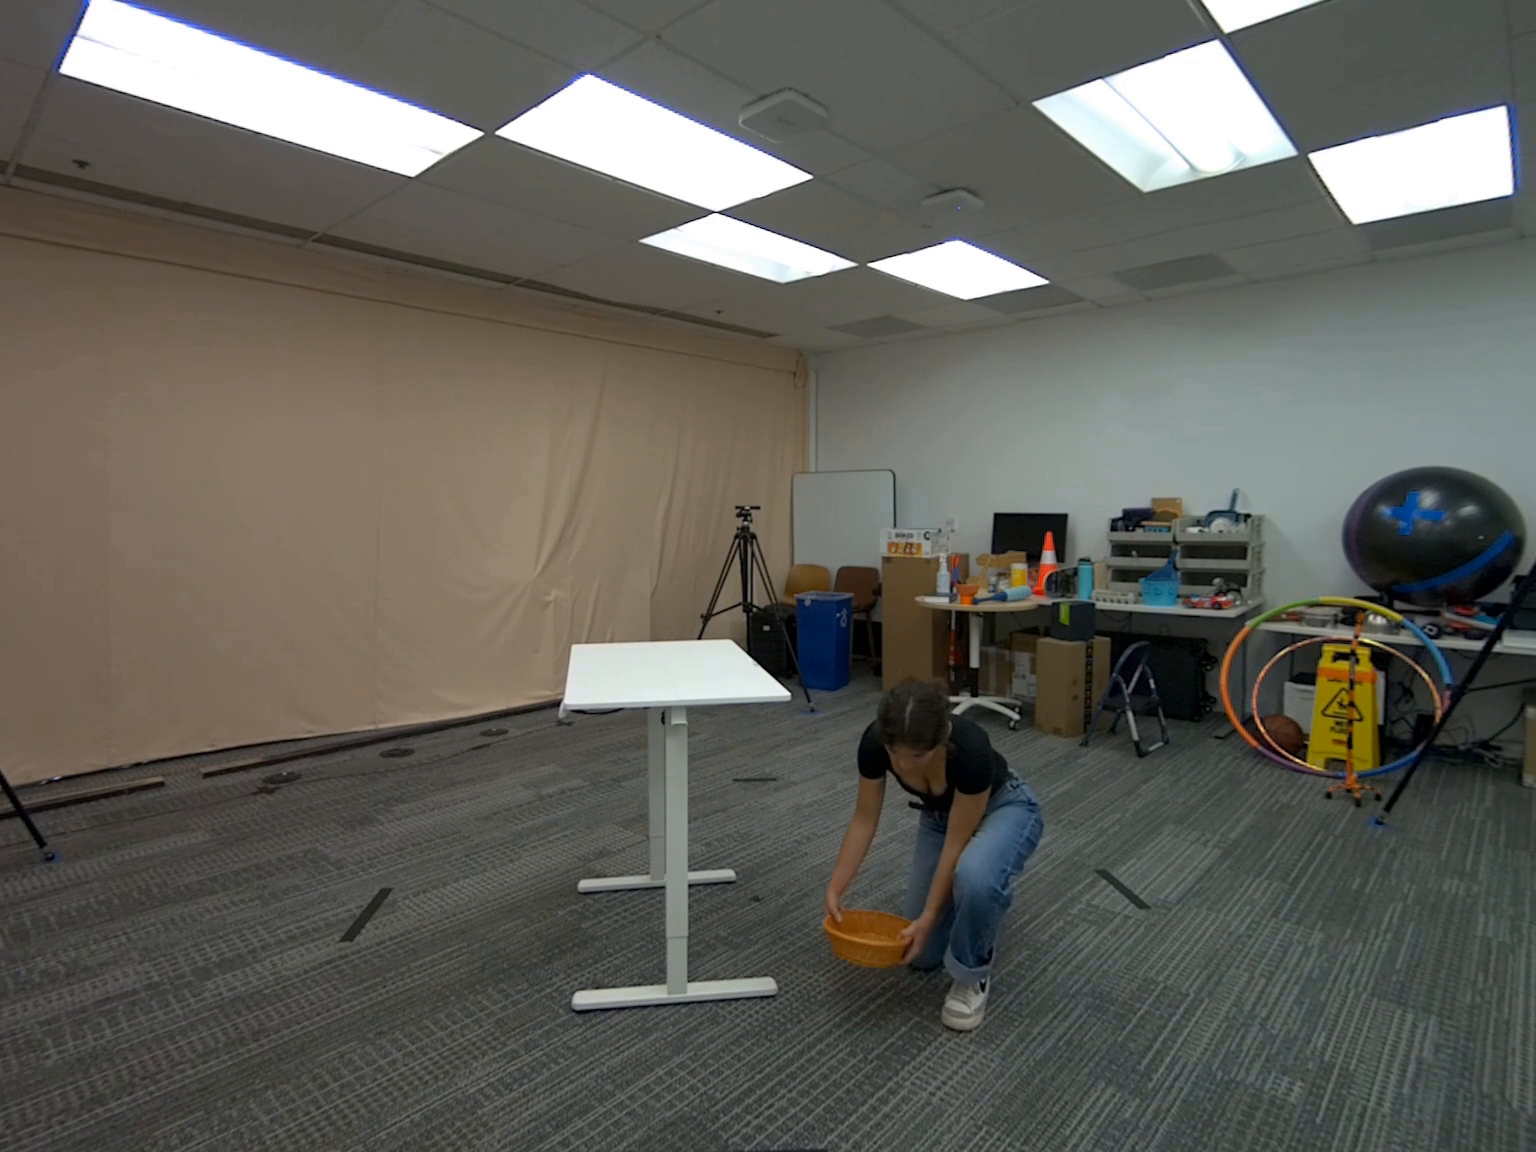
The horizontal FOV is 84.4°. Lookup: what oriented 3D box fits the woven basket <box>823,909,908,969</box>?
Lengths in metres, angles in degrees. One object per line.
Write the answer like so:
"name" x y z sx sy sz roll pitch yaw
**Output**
"woven basket" 0.297 1.021 2.347 0.260 0.073 0.338 3 -6 36
